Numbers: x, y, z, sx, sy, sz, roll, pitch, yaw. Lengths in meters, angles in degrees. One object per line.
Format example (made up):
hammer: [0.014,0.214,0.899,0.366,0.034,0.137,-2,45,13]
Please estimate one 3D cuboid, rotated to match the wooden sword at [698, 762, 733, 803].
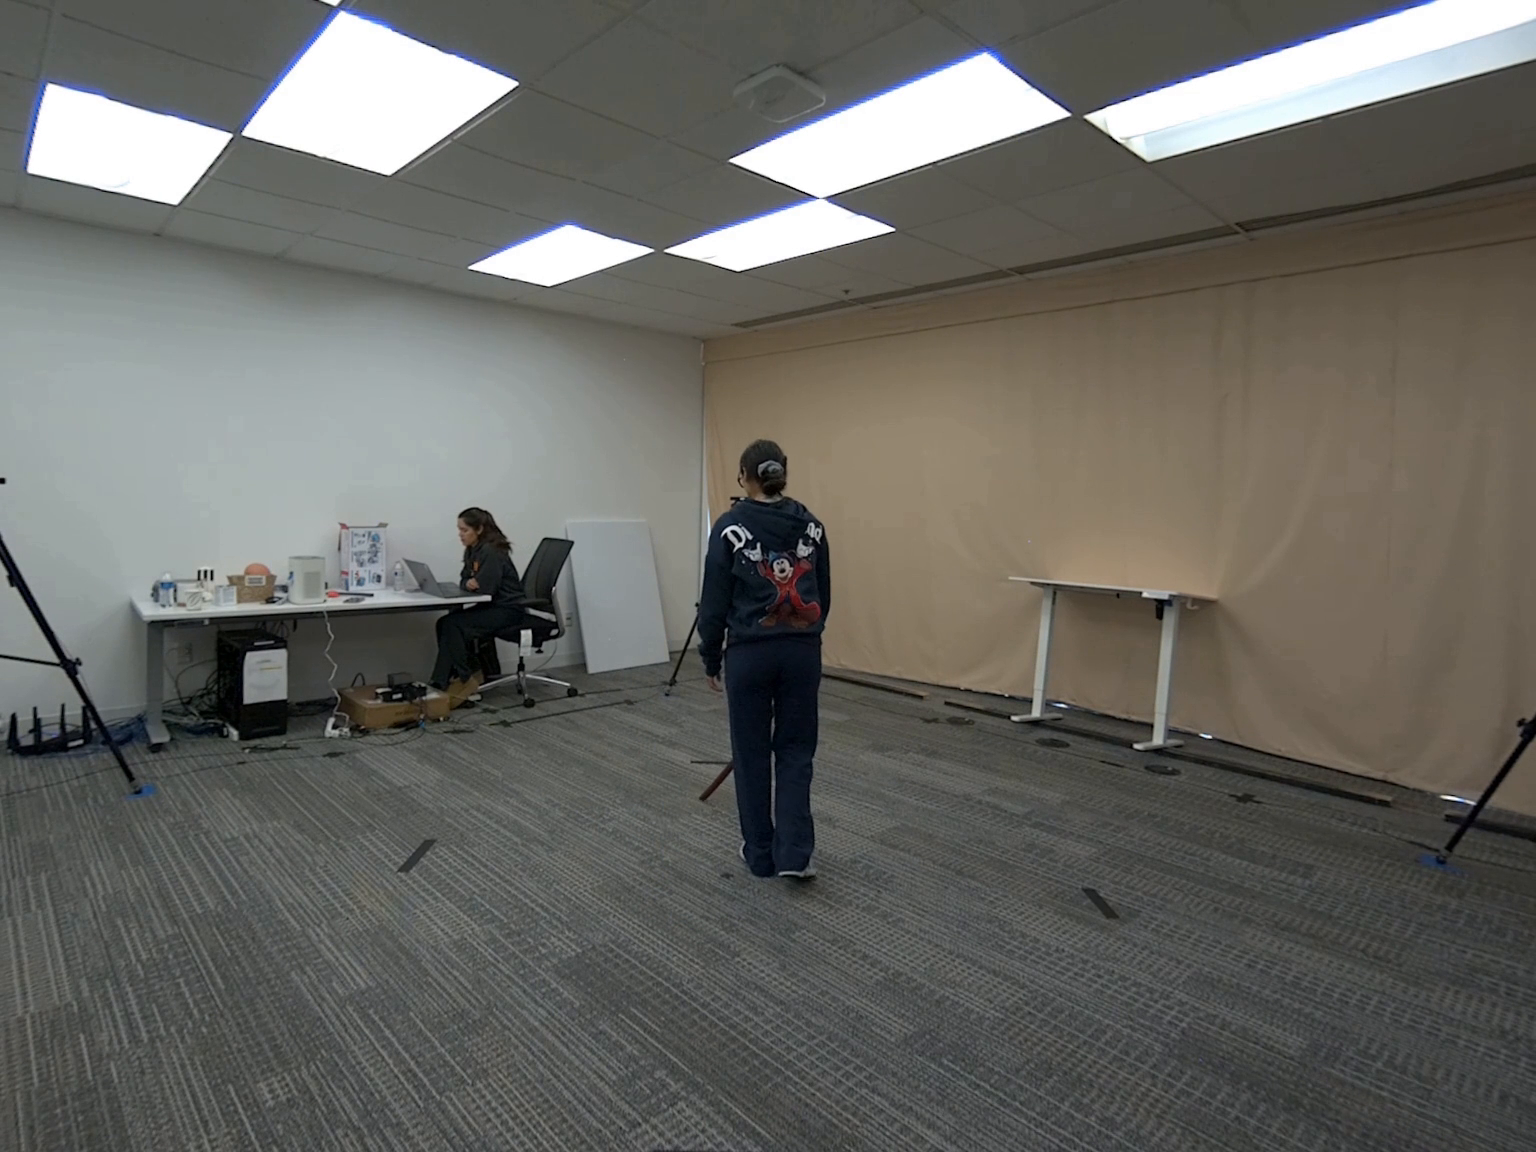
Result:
wooden sword: [-0.073,0.692,3.599,0.050,1.020,0.025,20,37,-22]
